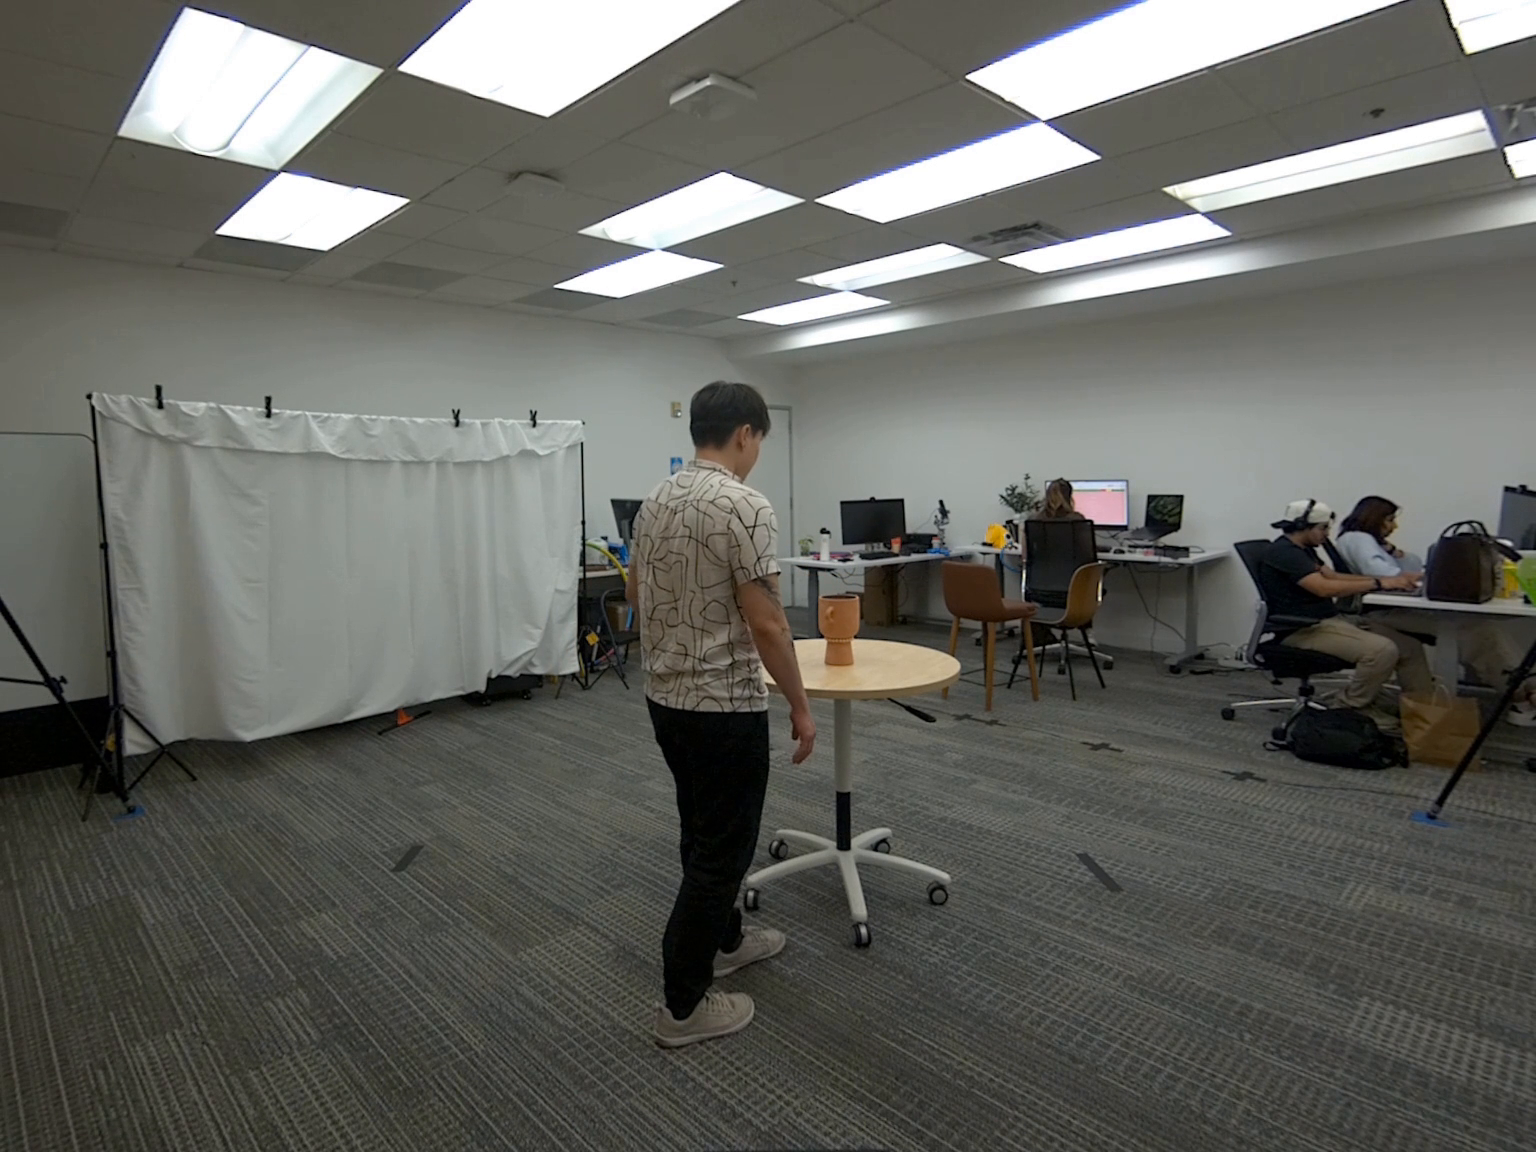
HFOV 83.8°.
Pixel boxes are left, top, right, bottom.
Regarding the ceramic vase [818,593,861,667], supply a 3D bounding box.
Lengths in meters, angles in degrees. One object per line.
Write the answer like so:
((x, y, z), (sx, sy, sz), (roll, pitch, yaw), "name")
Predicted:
((0.242, 0.181, 2.828), (0.156, 0.219, 0.138), (-3, 6, -22), "ceramic vase")
